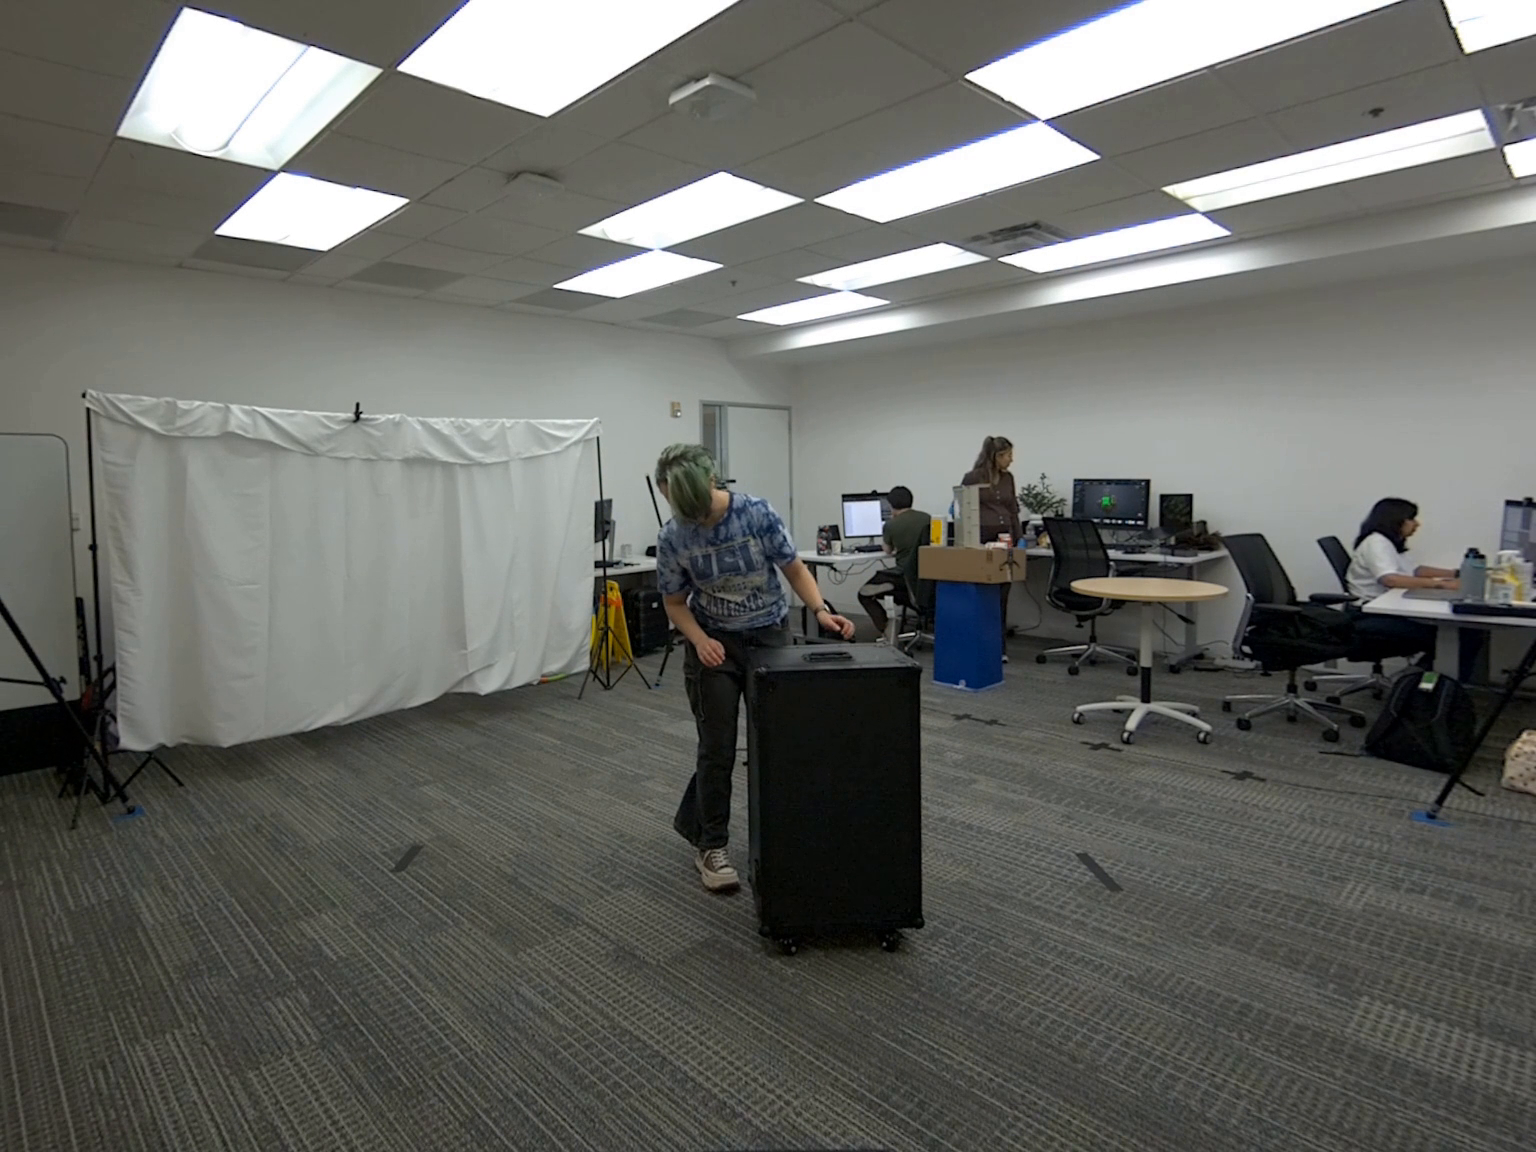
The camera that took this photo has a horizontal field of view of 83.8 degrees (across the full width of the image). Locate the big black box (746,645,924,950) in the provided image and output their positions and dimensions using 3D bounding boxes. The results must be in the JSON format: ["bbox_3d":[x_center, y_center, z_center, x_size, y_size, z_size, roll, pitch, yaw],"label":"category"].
[{"bbox_3d":[0.192,0.674,2.651,0.519,0.859,0.399,-2,3,-4],"label":"big black box"}]
